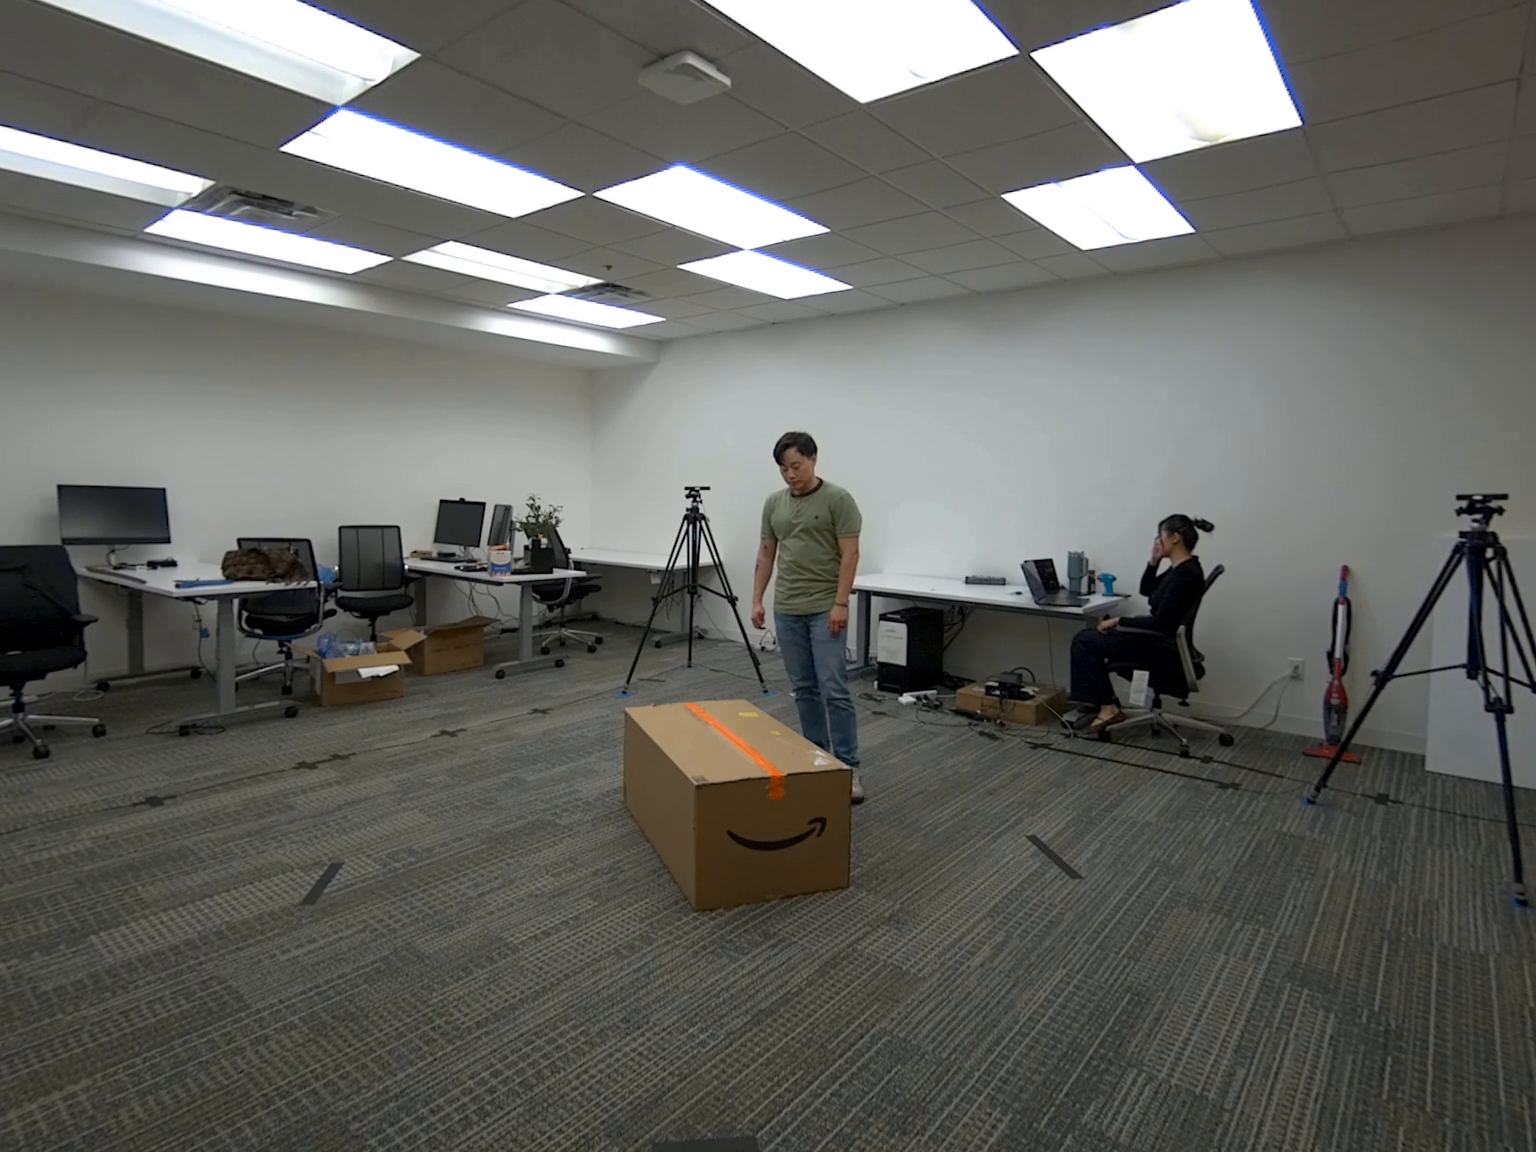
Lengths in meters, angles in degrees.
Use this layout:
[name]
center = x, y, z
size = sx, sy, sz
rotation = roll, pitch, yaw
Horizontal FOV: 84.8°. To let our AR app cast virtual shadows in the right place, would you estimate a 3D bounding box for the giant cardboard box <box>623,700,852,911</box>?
[giant cardboard box]
center = -0.183, 0.824, 3.338
size = 0.565, 0.425, 1.052
rotation = 0, 5, -23
